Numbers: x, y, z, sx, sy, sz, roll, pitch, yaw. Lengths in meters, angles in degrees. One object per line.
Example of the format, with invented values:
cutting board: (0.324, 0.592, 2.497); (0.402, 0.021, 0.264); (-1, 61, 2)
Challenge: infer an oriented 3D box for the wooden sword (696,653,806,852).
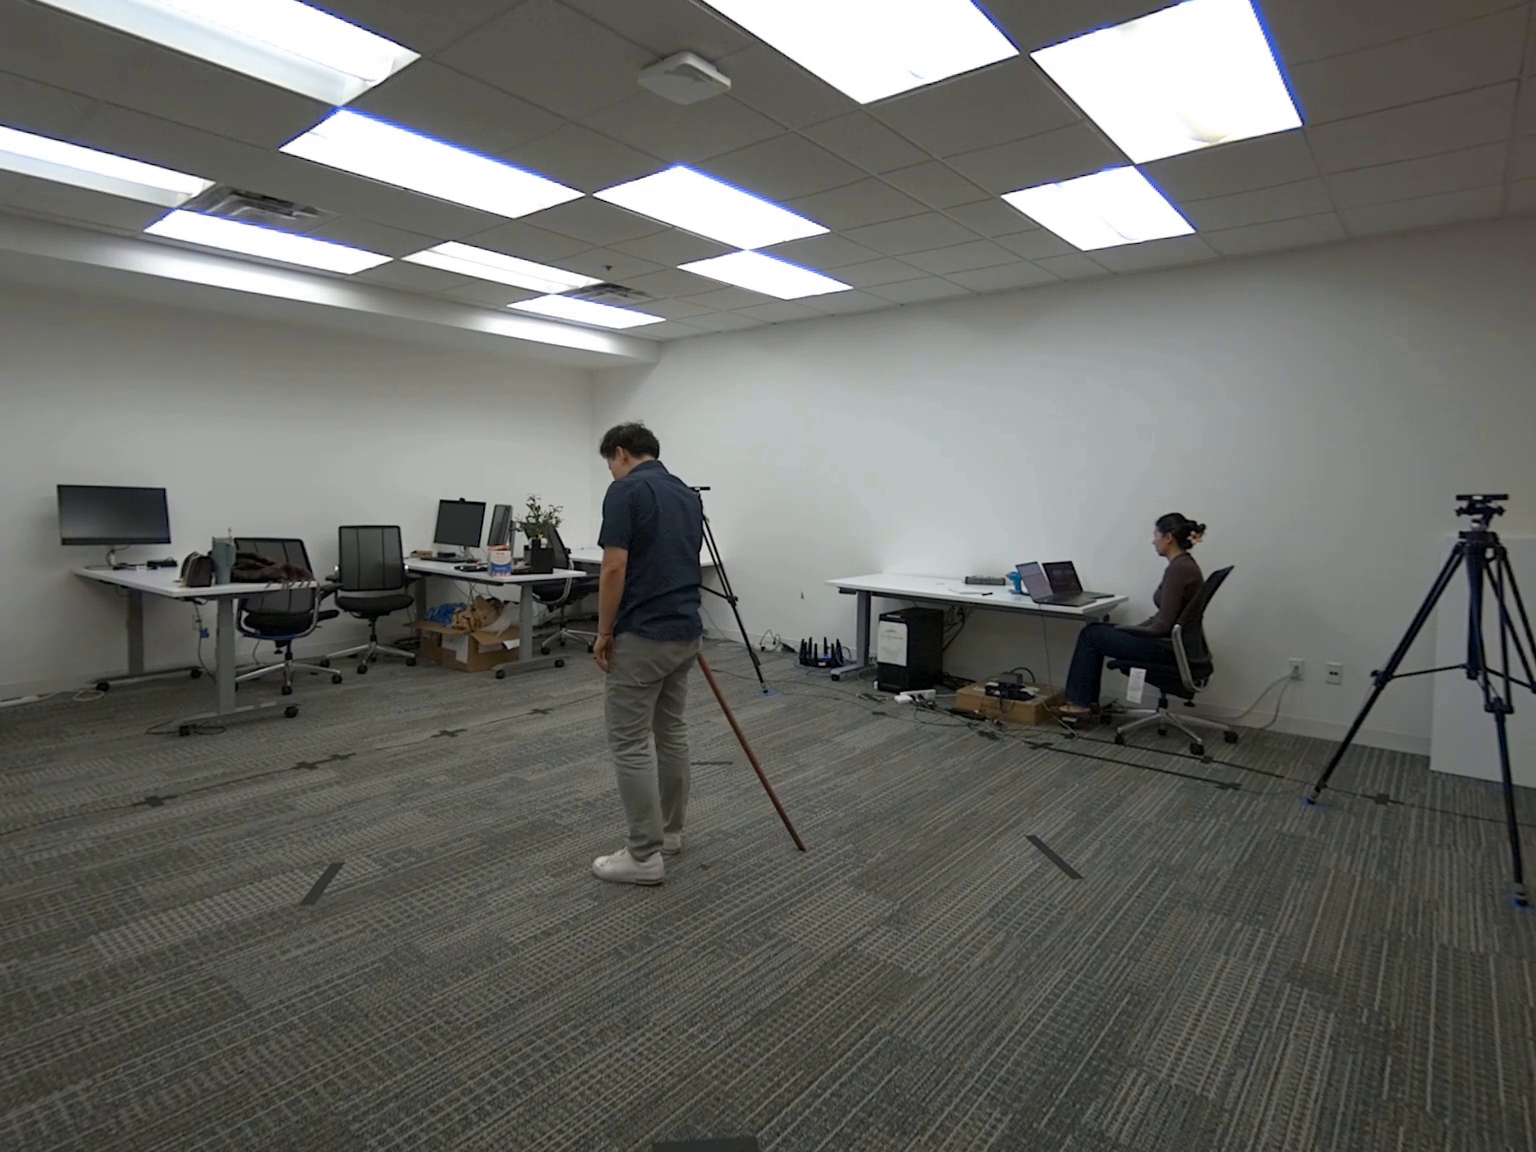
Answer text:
wooden sword: (-0.120, 0.636, 3.468); (0.051, 1.054, 0.023); (-25, -22, -16)
